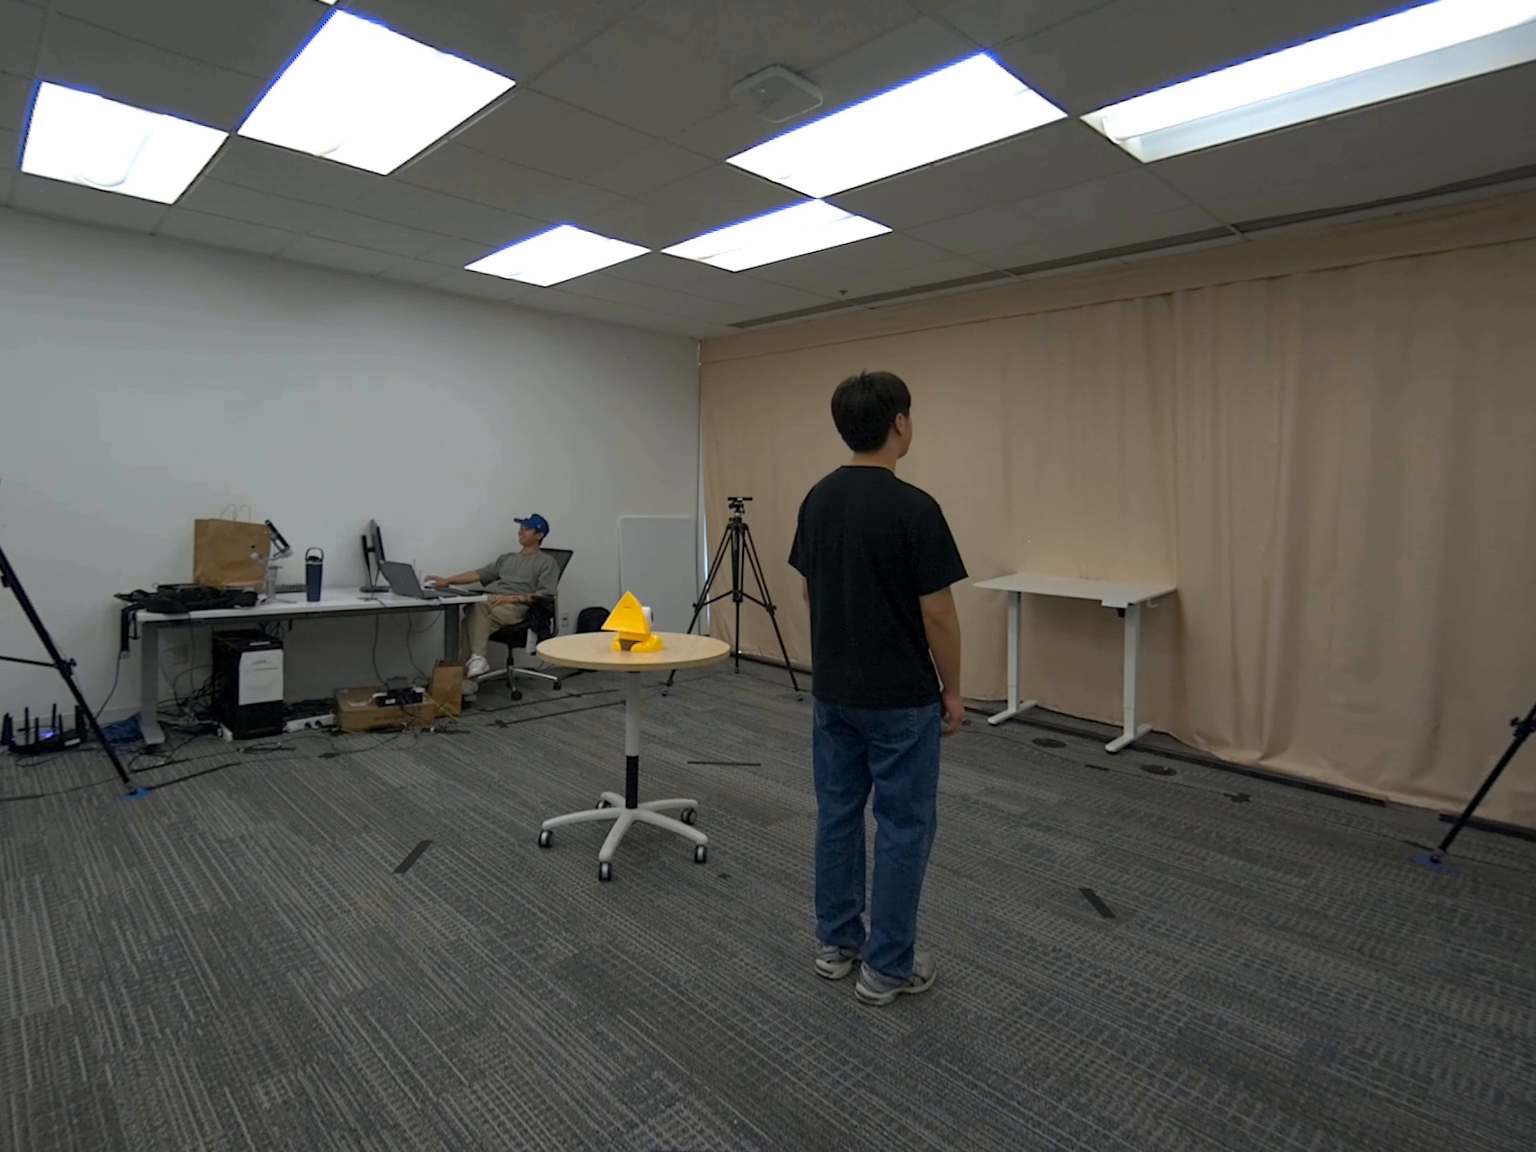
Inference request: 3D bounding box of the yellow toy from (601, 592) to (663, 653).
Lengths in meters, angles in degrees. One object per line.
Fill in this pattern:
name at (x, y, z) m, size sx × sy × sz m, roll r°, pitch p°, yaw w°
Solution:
yellow toy at (-0.525, 0.171, 3.298) m, size 0.209 × 0.230 × 0.190 m, roll 2°, pitch 4°, yaw 27°
